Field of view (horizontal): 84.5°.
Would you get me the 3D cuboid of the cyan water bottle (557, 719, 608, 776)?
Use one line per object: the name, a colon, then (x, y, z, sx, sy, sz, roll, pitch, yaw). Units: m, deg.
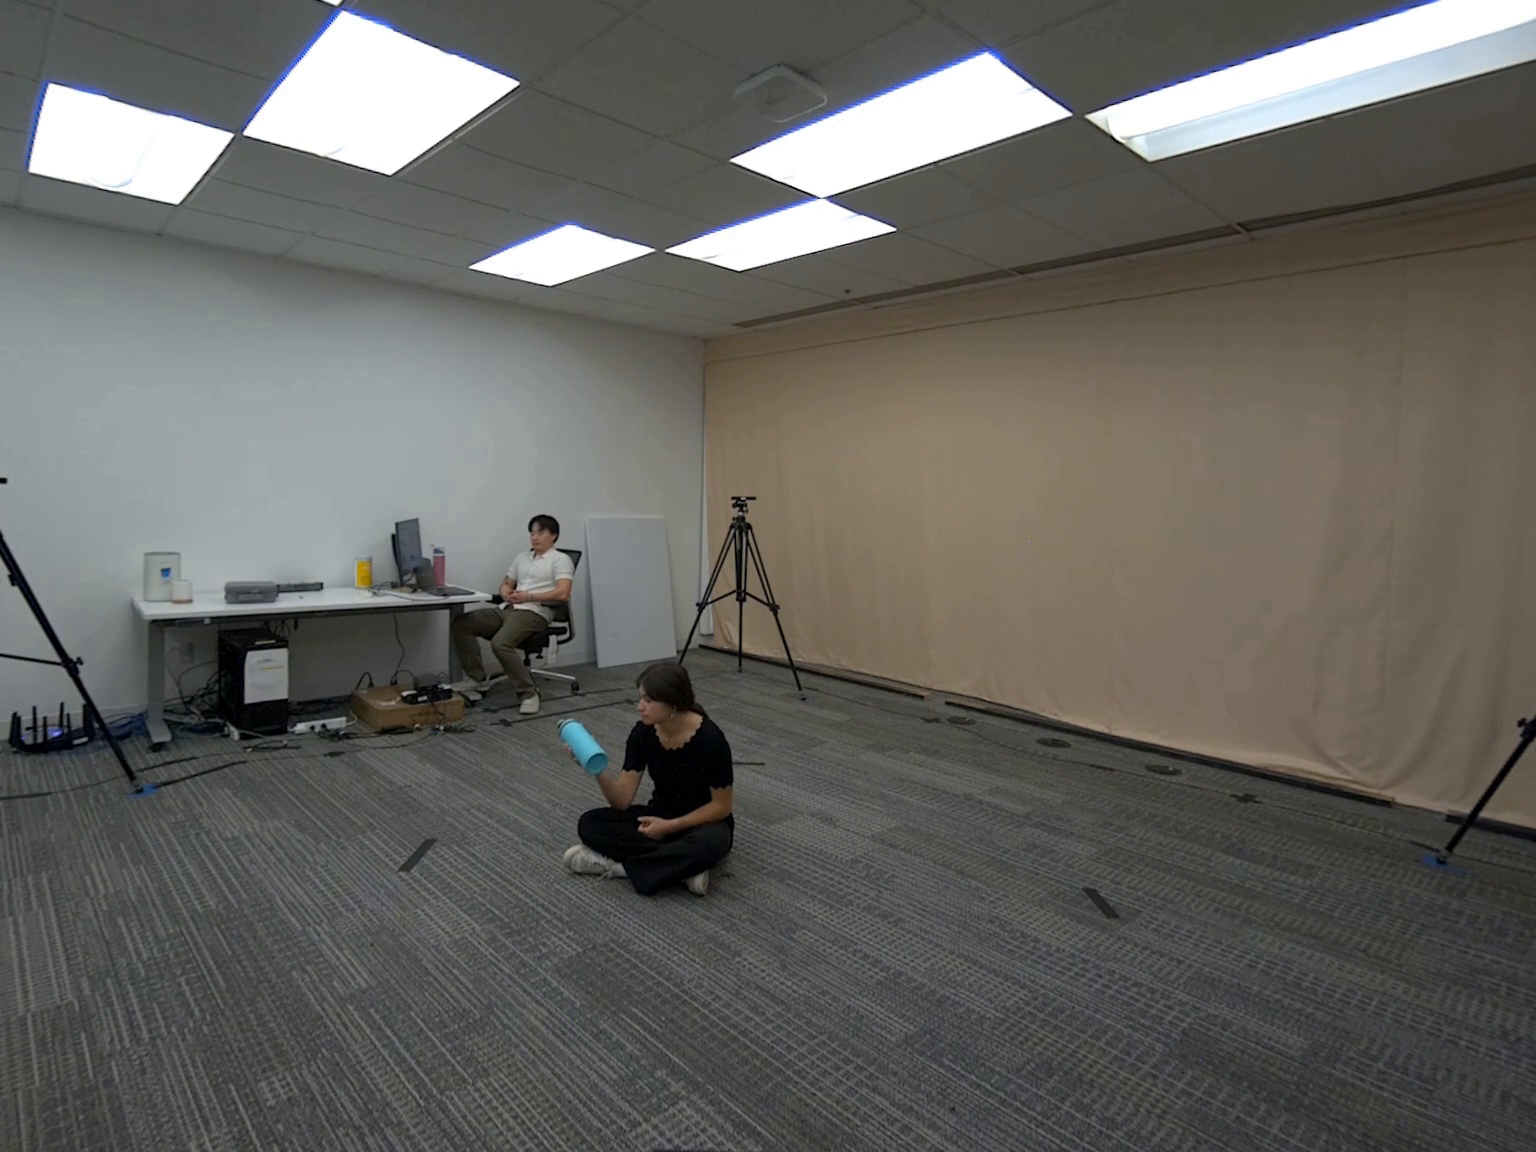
cyan water bottle: (-0.685, 0.605, 3.047, 0.090, 0.091, 0.292, -2, 21, -35)
